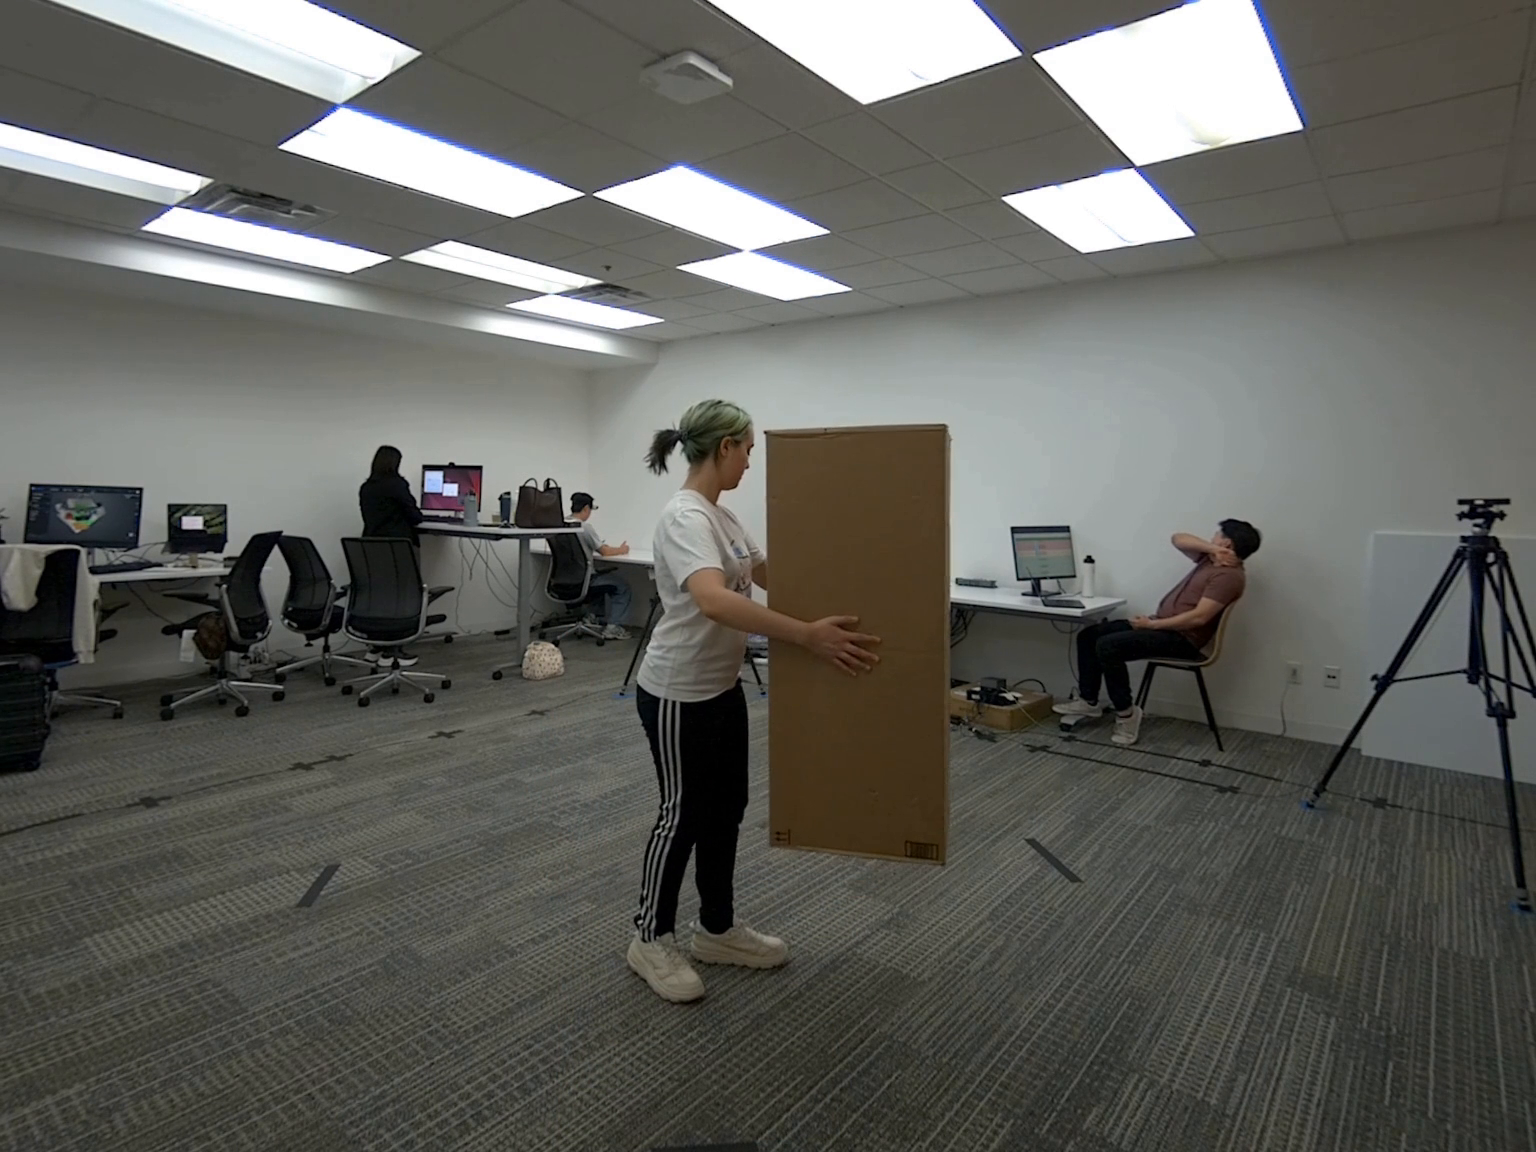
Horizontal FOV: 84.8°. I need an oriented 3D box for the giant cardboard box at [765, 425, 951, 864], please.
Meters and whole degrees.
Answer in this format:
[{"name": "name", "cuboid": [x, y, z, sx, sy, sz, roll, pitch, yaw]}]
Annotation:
[{"name": "giant cardboard box", "cuboid": [0.255, 0.138, 2.268, 0.454, 1.023, 0.577, 1, 4, 13]}]
